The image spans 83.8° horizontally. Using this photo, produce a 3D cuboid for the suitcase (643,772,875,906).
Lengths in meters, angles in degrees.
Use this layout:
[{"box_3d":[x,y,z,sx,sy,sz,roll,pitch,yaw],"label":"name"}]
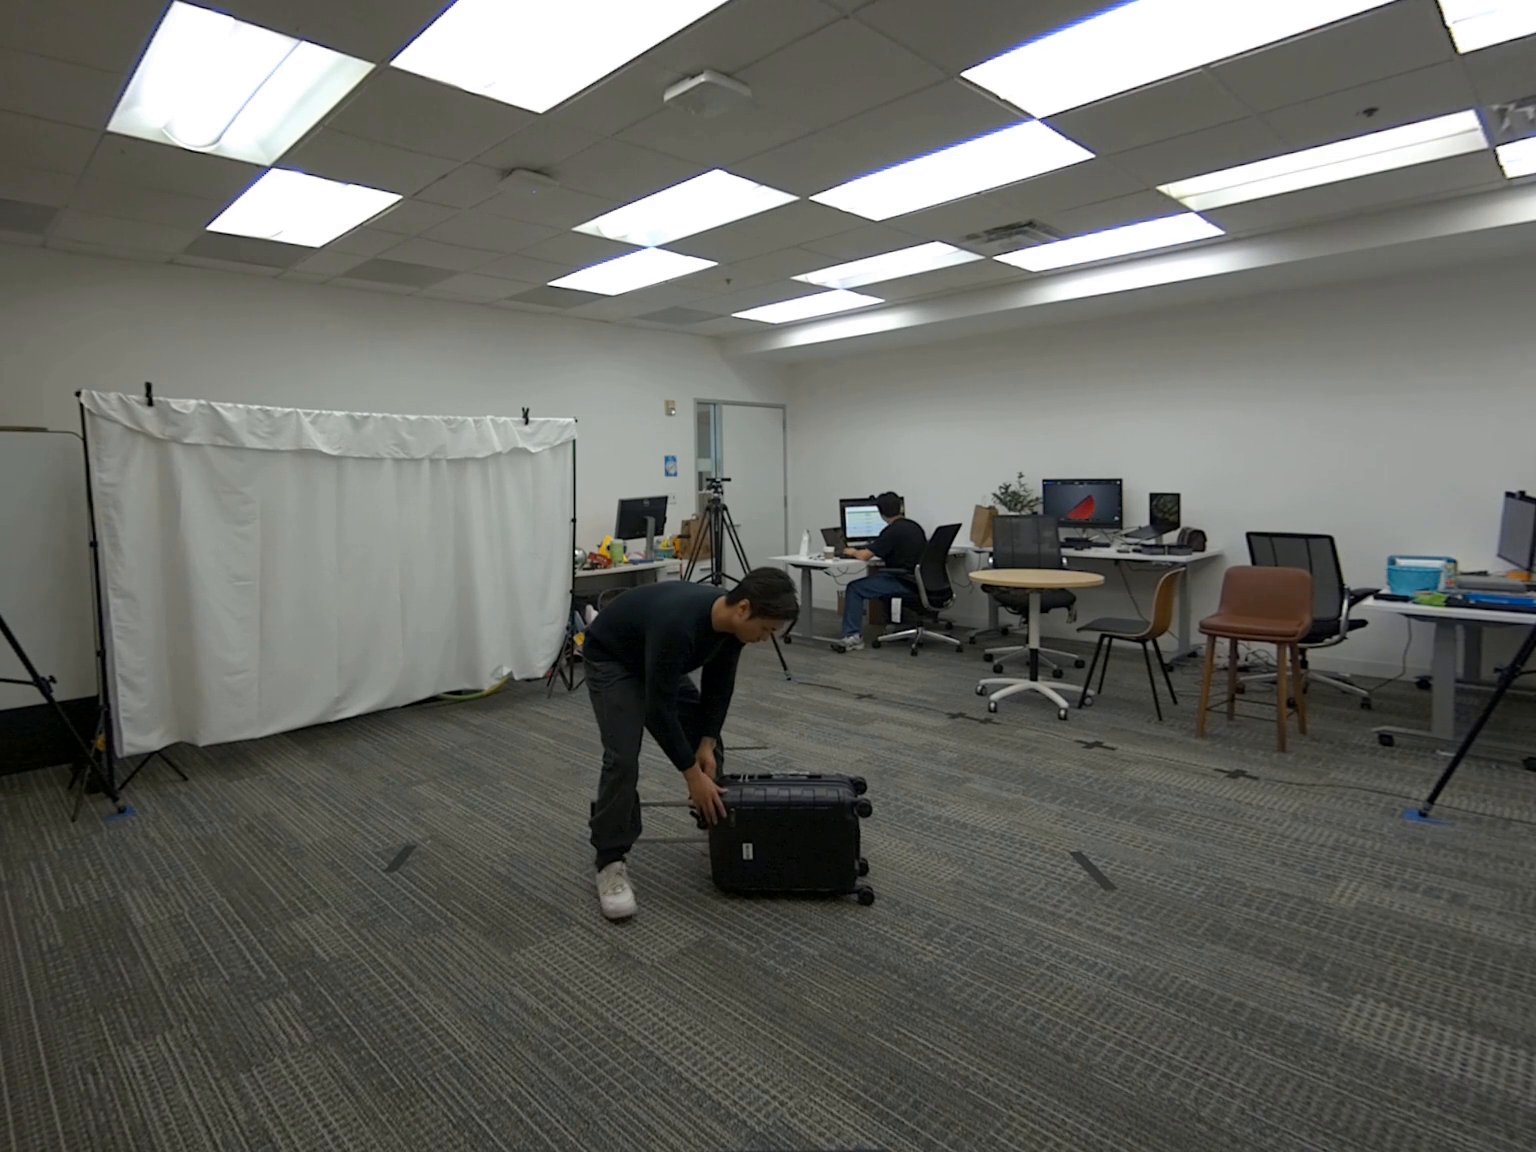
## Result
[{"box_3d":[-0.137,0.876,2.929,0.982,0.383,0.257,1,3,4],"label":"suitcase"}]
